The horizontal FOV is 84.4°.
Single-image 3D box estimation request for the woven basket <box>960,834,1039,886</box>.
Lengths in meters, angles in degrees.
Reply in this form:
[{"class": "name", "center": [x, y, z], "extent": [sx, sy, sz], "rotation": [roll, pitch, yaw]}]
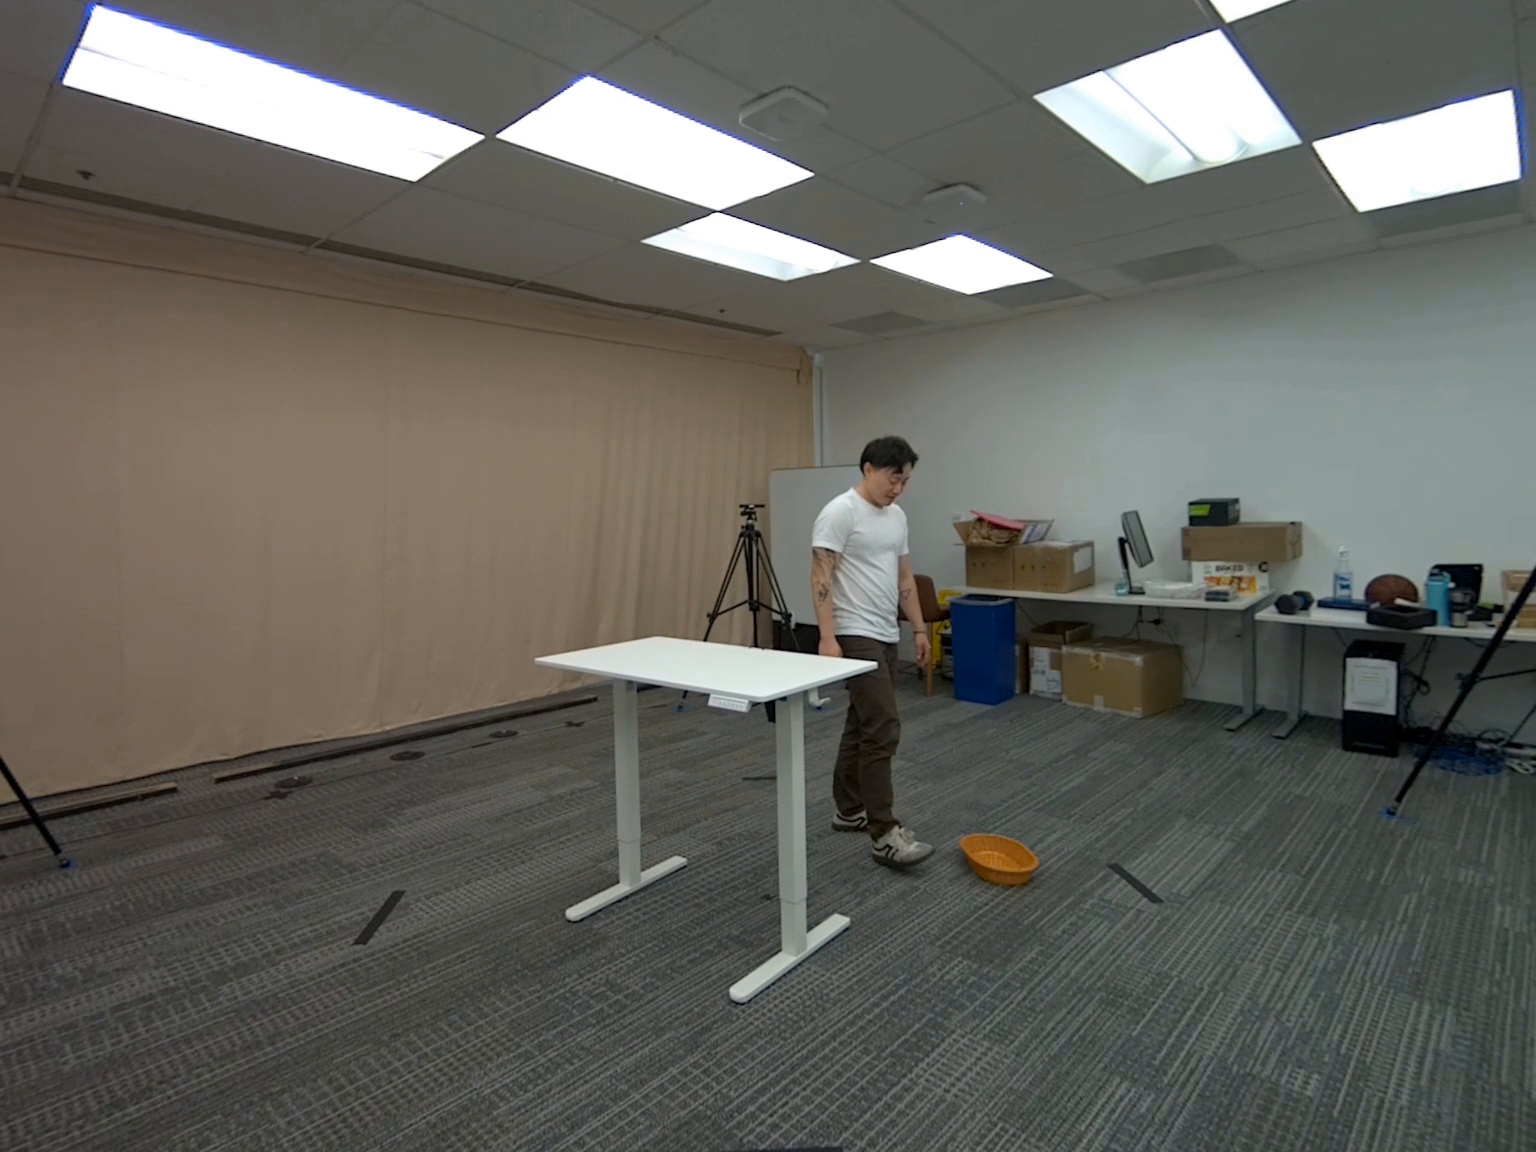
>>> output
[{"class": "woven basket", "center": [0.873, 1.071, 3.172], "extent": [0.252, 0.073, 0.352], "rotation": [0, 5, -2]}]
